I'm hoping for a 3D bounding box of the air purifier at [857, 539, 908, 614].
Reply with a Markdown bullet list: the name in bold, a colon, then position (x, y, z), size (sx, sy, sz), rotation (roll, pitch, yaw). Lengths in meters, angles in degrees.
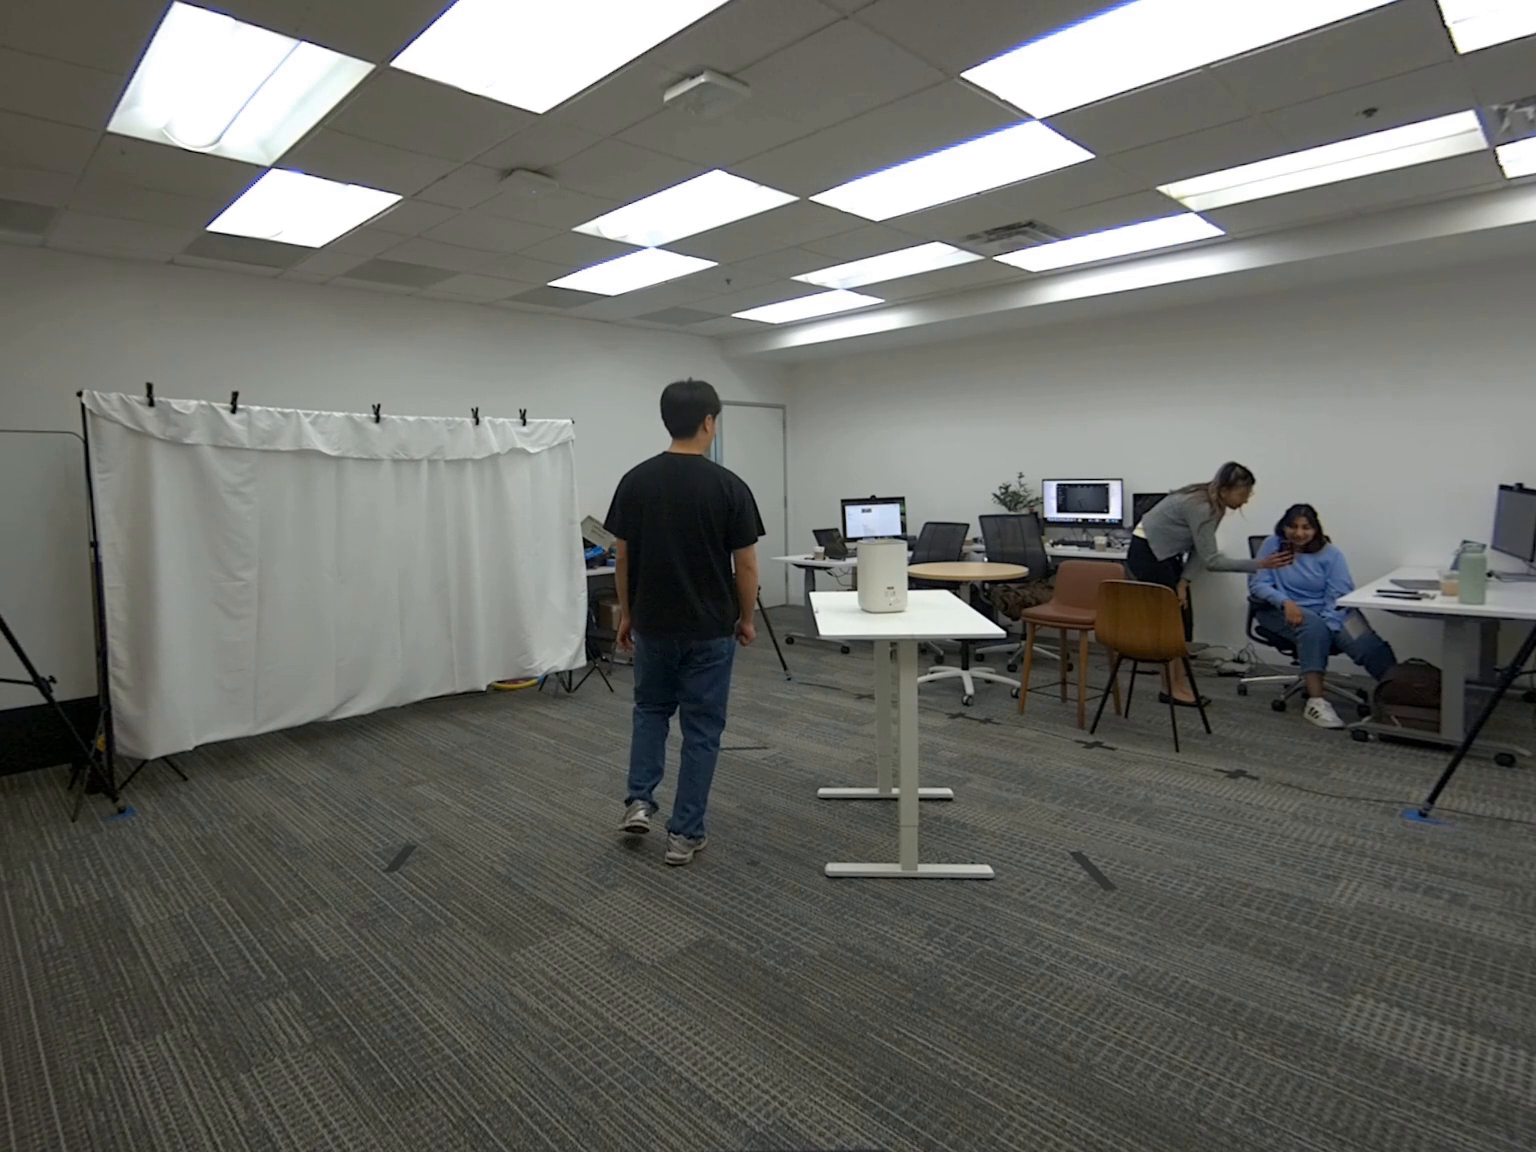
- **air purifier**: position (0.440, 0.001, 3.264), size (0.170, 0.264, 0.174), rotation (-2, 7, -9)
